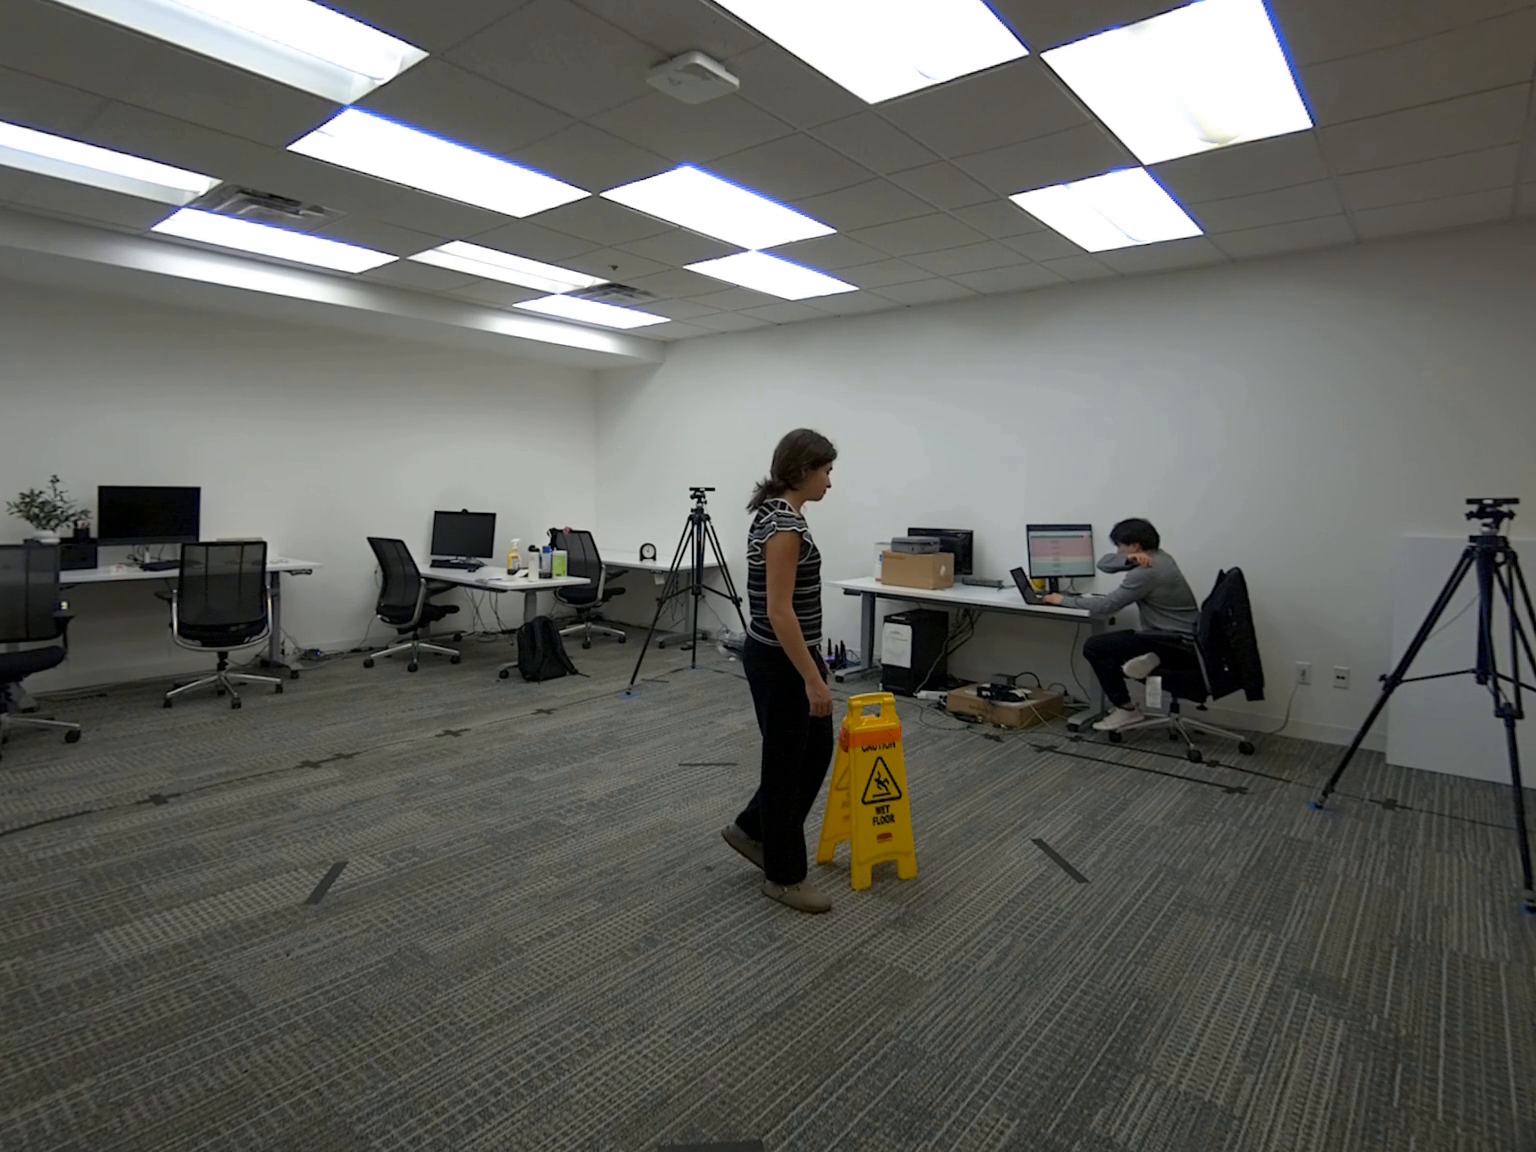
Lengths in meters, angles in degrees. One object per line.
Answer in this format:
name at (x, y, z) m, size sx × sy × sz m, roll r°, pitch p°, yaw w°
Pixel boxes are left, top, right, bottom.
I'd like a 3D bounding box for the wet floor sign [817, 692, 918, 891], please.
wet floor sign at (0.366, 0.754, 3.113) m, size 0.275 × 0.644 × 0.298 m, roll 0°, pitch 4°, yaw -29°
